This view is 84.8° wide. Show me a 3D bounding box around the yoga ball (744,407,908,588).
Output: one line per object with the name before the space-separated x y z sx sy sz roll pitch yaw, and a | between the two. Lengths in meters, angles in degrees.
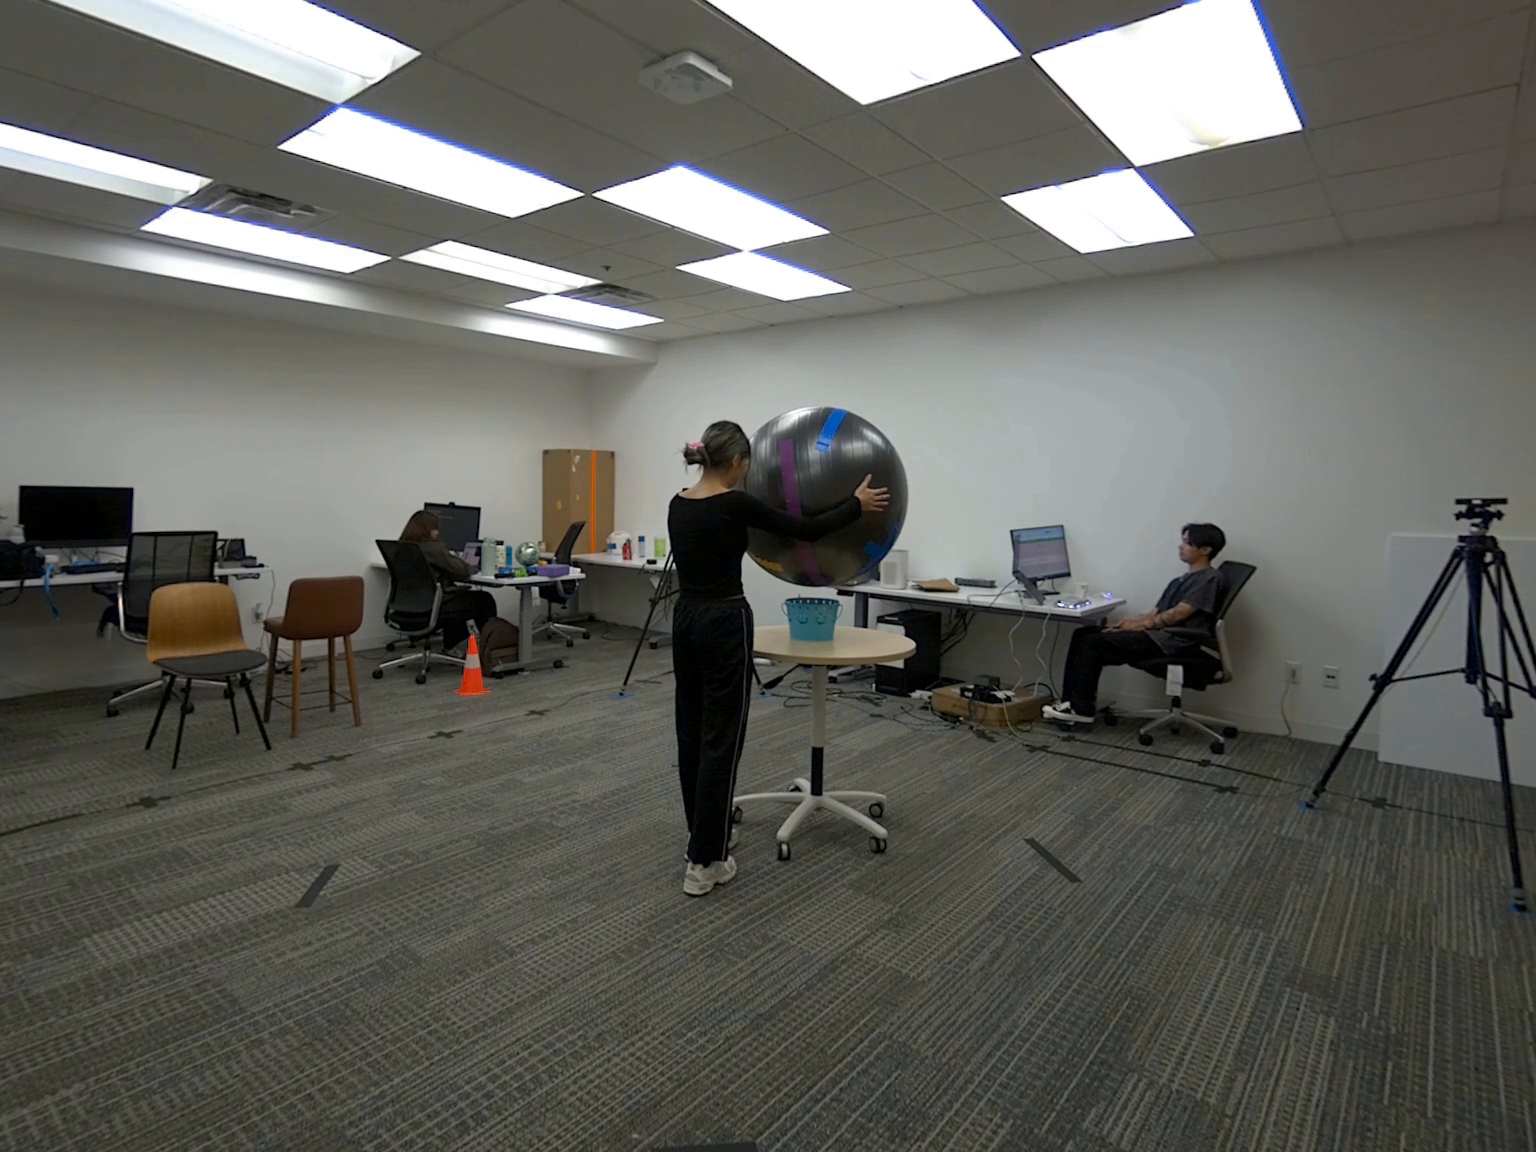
yoga ball | 0.210 -0.333 3.599 0.757 0.756 0.762 1 4 -2
